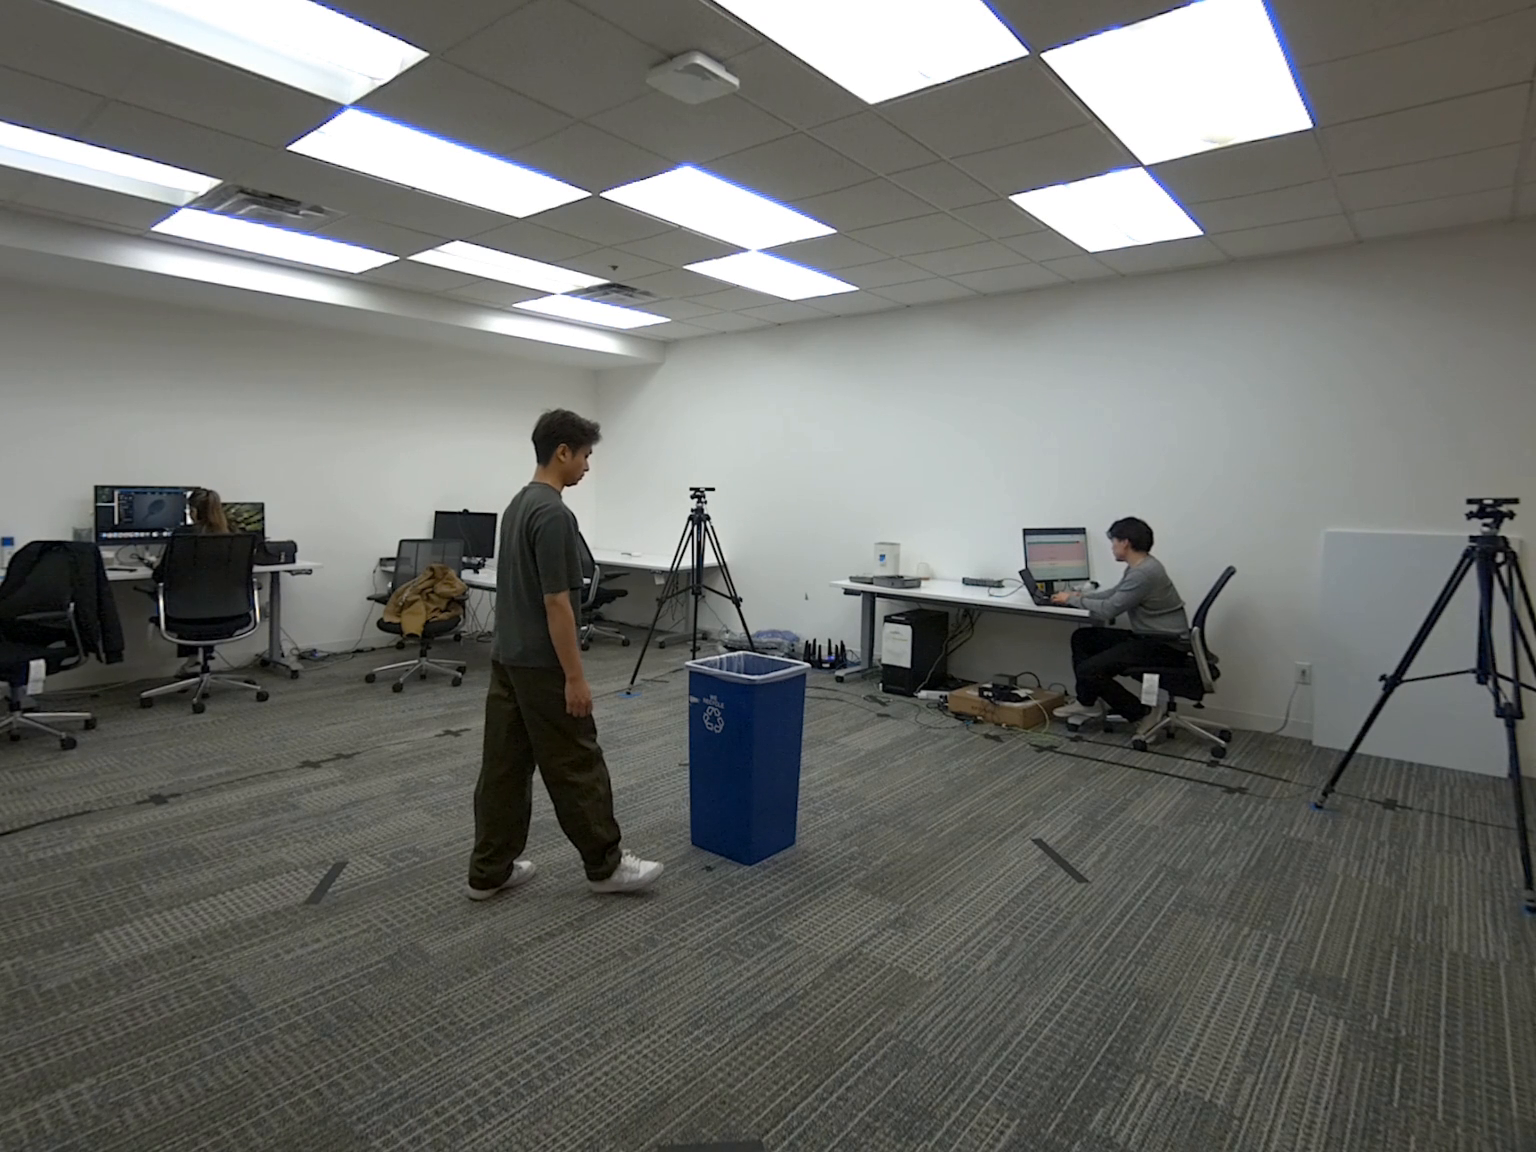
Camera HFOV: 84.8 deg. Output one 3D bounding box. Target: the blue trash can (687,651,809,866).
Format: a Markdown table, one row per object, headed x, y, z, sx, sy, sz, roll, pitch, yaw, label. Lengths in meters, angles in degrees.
| x | y | z | sx | sy | sz | roll | pitch | yaw | label |
| --- | --- | --- | --- | --- | --- | --- | --- | --- | --- |
| -0.088 | 0.690 | 3.319 | 0.386 | 0.712 | 0.367 | 3 | 4 | 38 | blue trash can |
